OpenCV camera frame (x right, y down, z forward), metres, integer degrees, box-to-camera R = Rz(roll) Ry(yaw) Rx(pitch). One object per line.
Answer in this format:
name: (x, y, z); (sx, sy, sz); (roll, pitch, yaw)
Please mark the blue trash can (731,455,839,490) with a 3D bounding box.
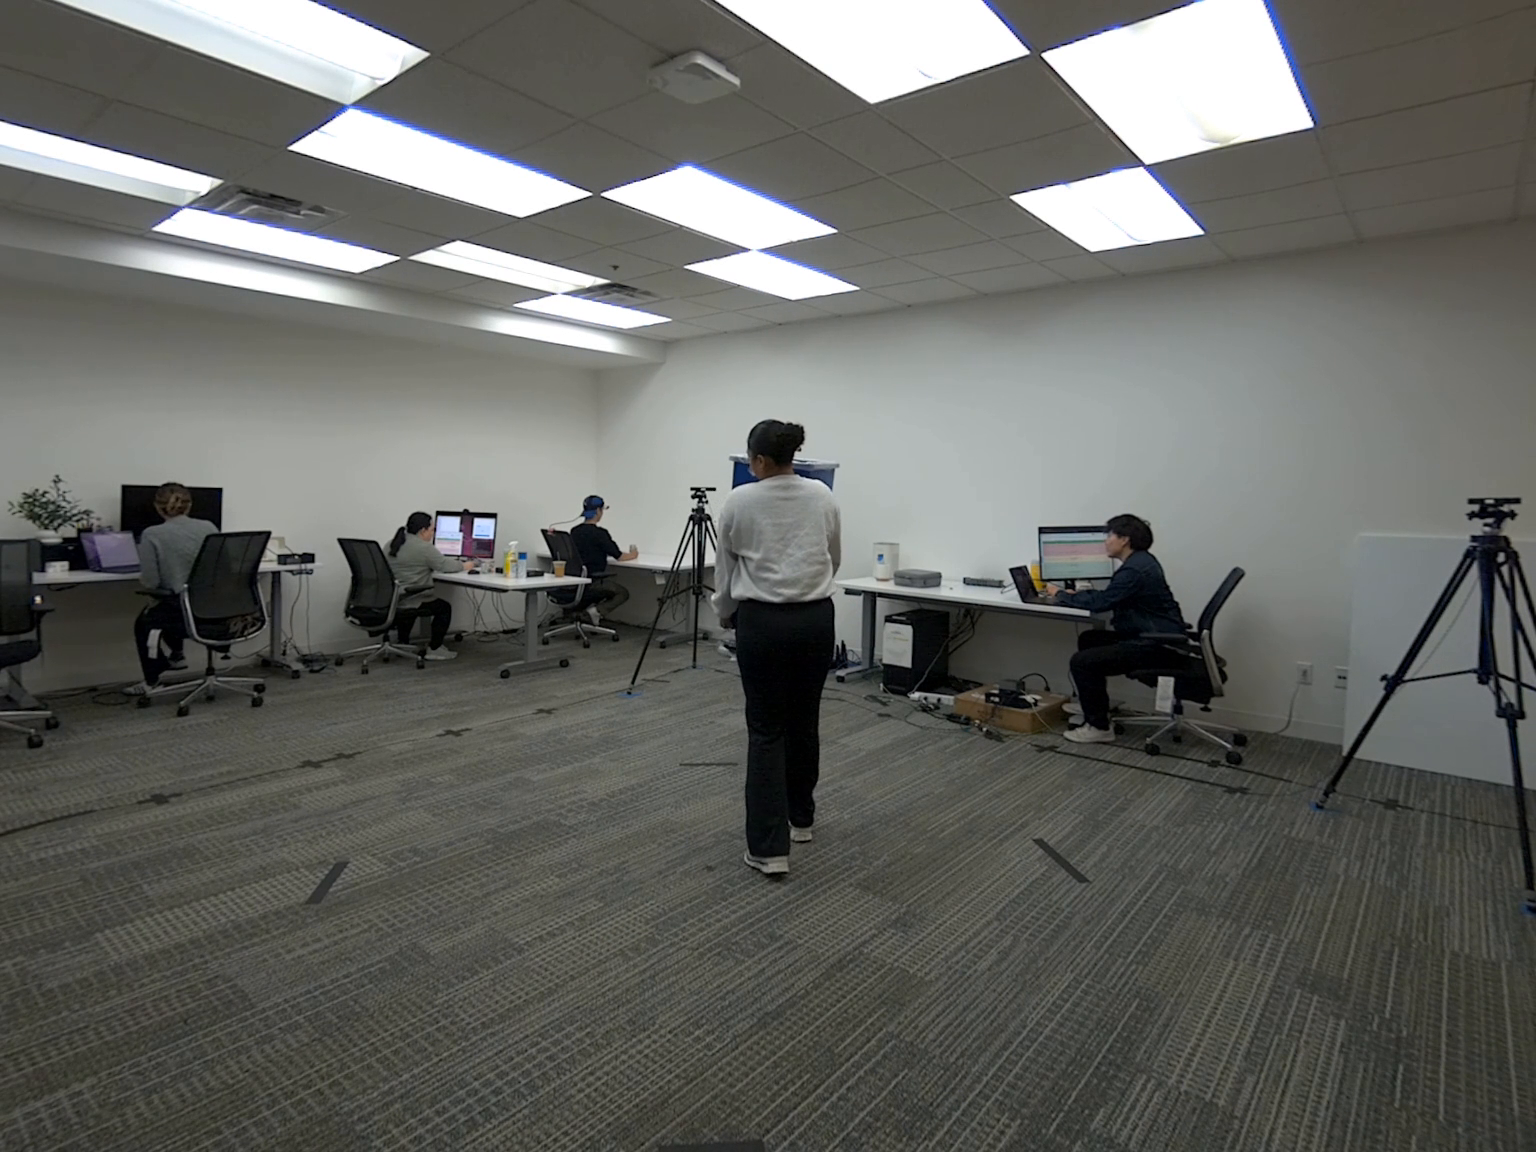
blue trash can: (0.036, -0.146, 3.576); (0.384, 0.708, 0.370); (8, 9, 24)
